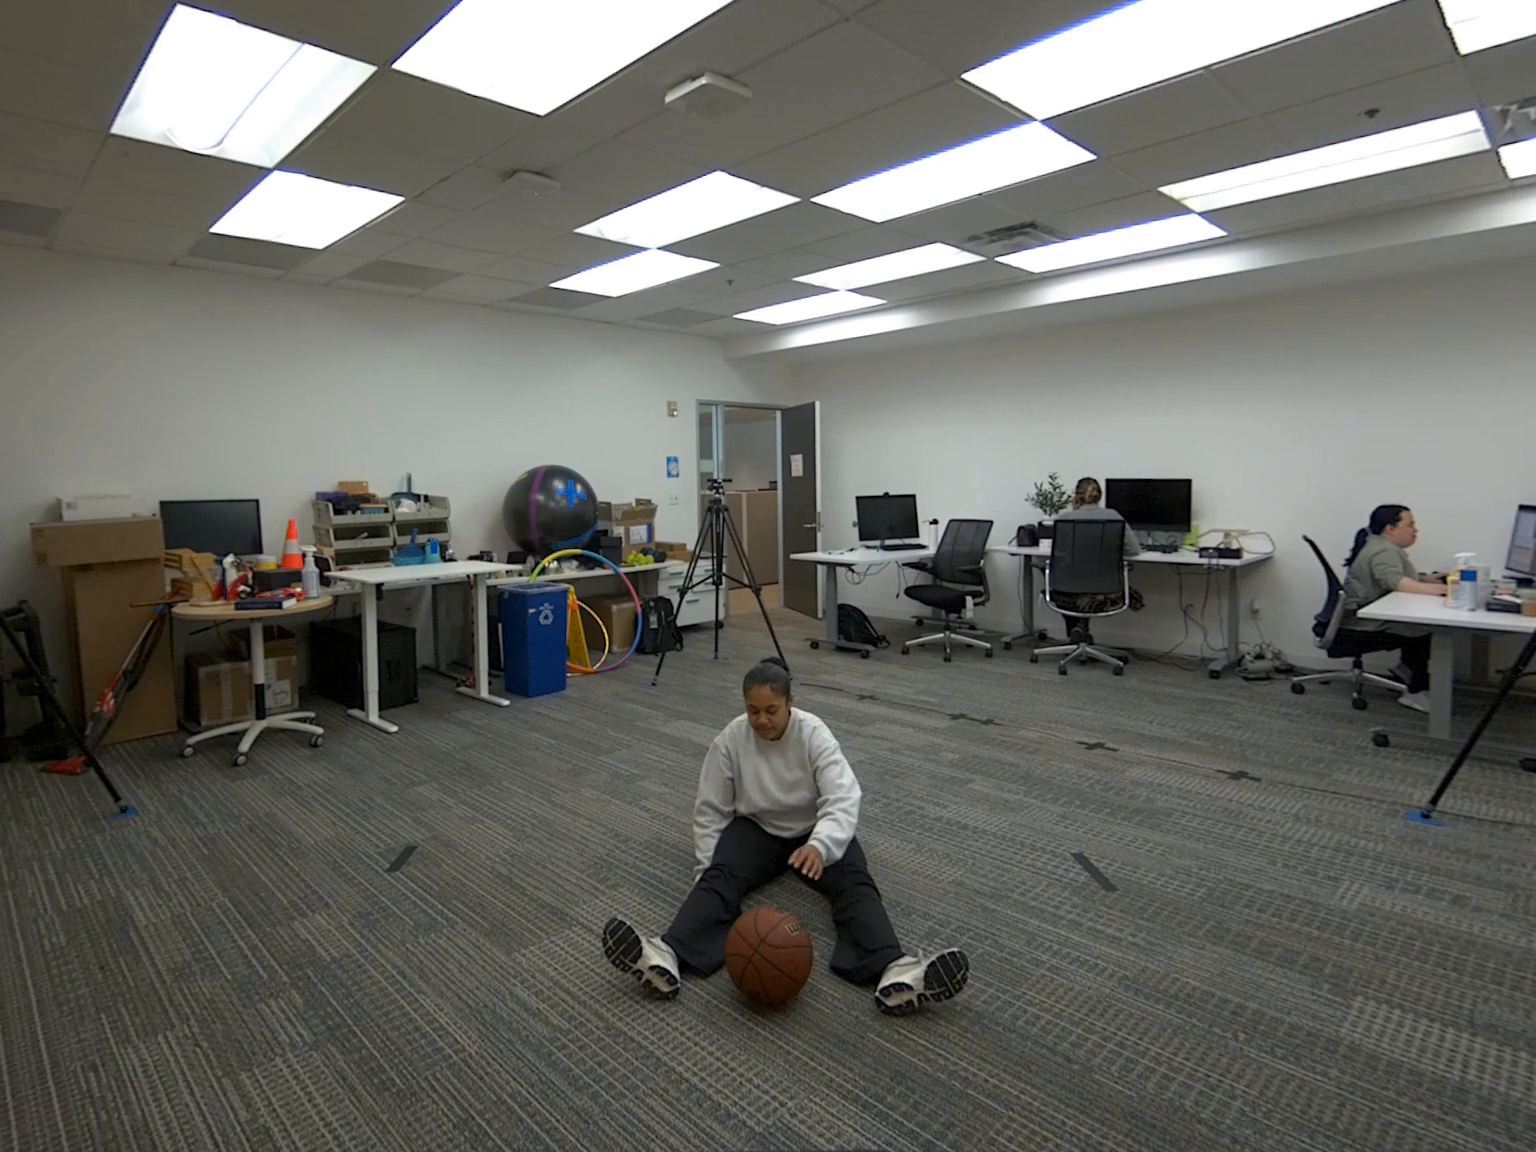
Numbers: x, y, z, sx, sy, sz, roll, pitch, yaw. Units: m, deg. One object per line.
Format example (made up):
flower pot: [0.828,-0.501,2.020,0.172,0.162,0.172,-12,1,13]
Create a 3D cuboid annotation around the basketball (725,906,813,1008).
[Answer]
basketball: [0.012,1.025,2.301,0.236,0.235,0.237,-1,5,-2]
